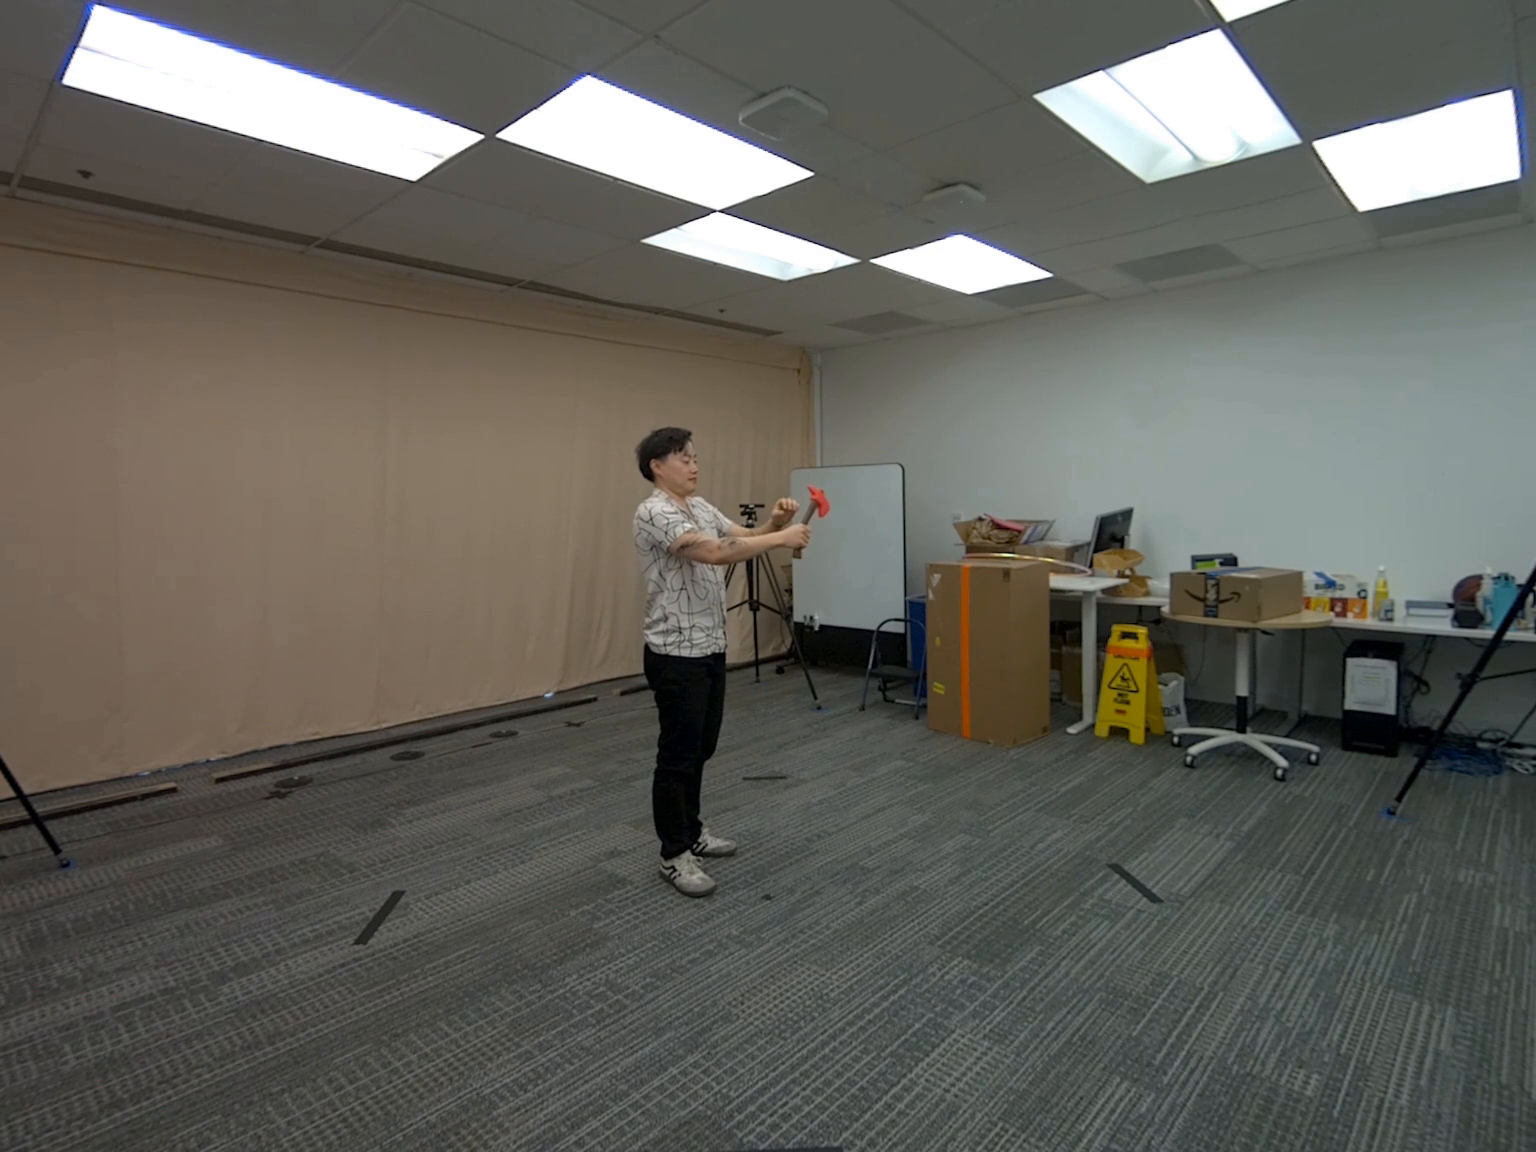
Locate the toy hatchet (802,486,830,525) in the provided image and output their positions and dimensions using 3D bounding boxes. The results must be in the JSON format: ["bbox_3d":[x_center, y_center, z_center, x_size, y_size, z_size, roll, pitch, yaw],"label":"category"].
[{"bbox_3d":[0.156,-0.179,2.979,0.126,0.271,0.030,26,-14,-40],"label":"toy hatchet"}]
